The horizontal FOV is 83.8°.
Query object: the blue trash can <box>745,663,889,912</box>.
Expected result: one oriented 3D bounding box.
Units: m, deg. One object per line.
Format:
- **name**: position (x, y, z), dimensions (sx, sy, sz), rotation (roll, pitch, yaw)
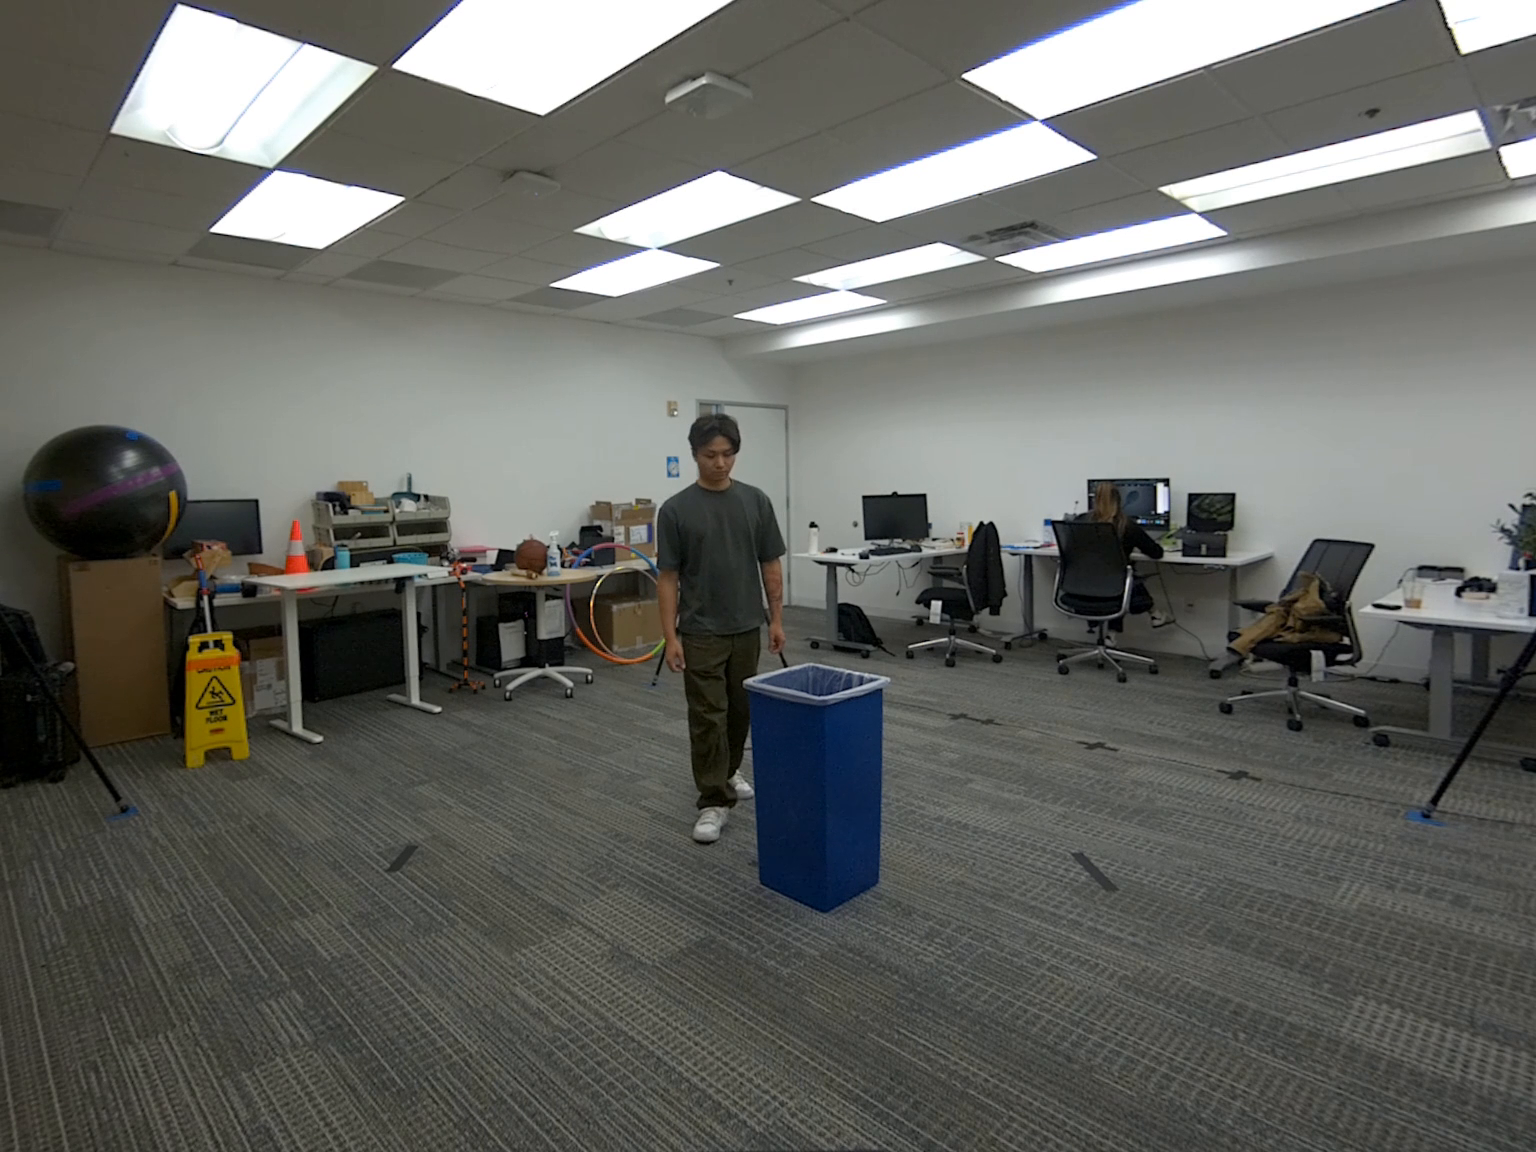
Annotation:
- **blue trash can**: position (0.171, 0.705, 2.917), dimensions (0.389, 0.711, 0.364), rotation (3, 5, 44)
